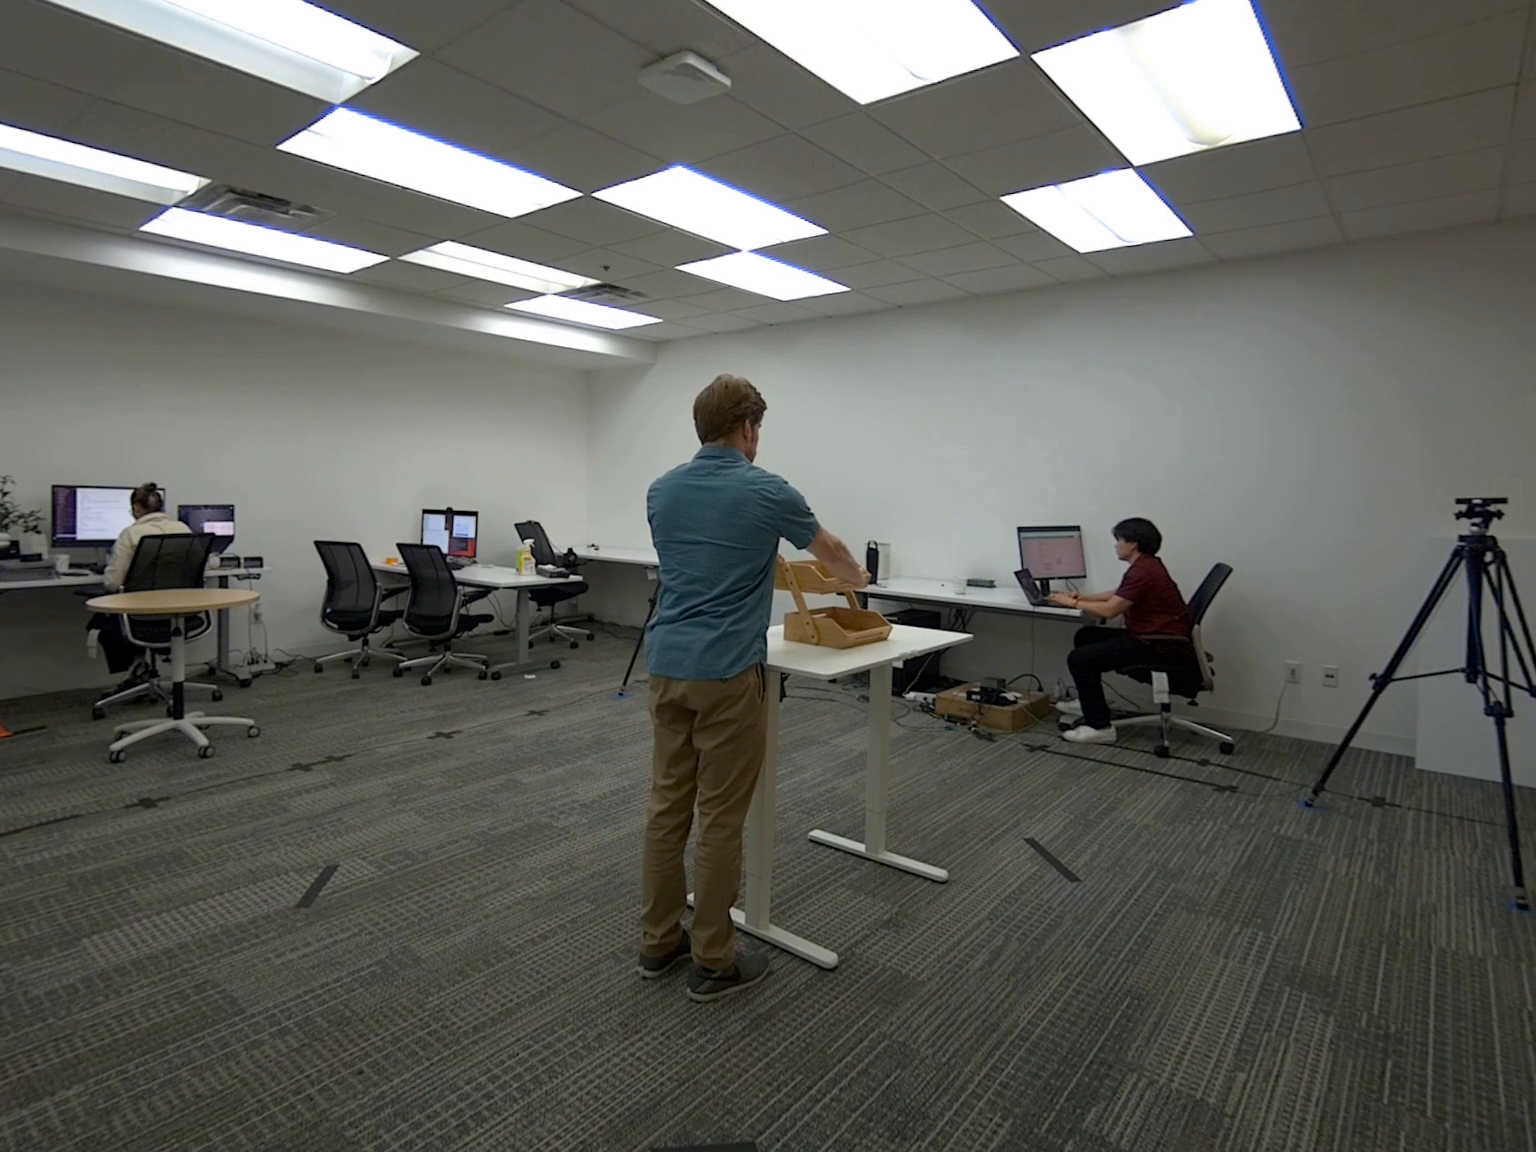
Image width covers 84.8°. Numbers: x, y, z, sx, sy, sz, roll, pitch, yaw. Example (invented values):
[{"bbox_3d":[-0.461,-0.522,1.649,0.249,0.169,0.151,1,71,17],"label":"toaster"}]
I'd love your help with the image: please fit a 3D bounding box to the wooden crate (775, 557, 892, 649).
[{"bbox_3d":[0.223,0.084,2.921,0.312,0.272,0.315,5,5,38],"label":"wooden crate"}]
